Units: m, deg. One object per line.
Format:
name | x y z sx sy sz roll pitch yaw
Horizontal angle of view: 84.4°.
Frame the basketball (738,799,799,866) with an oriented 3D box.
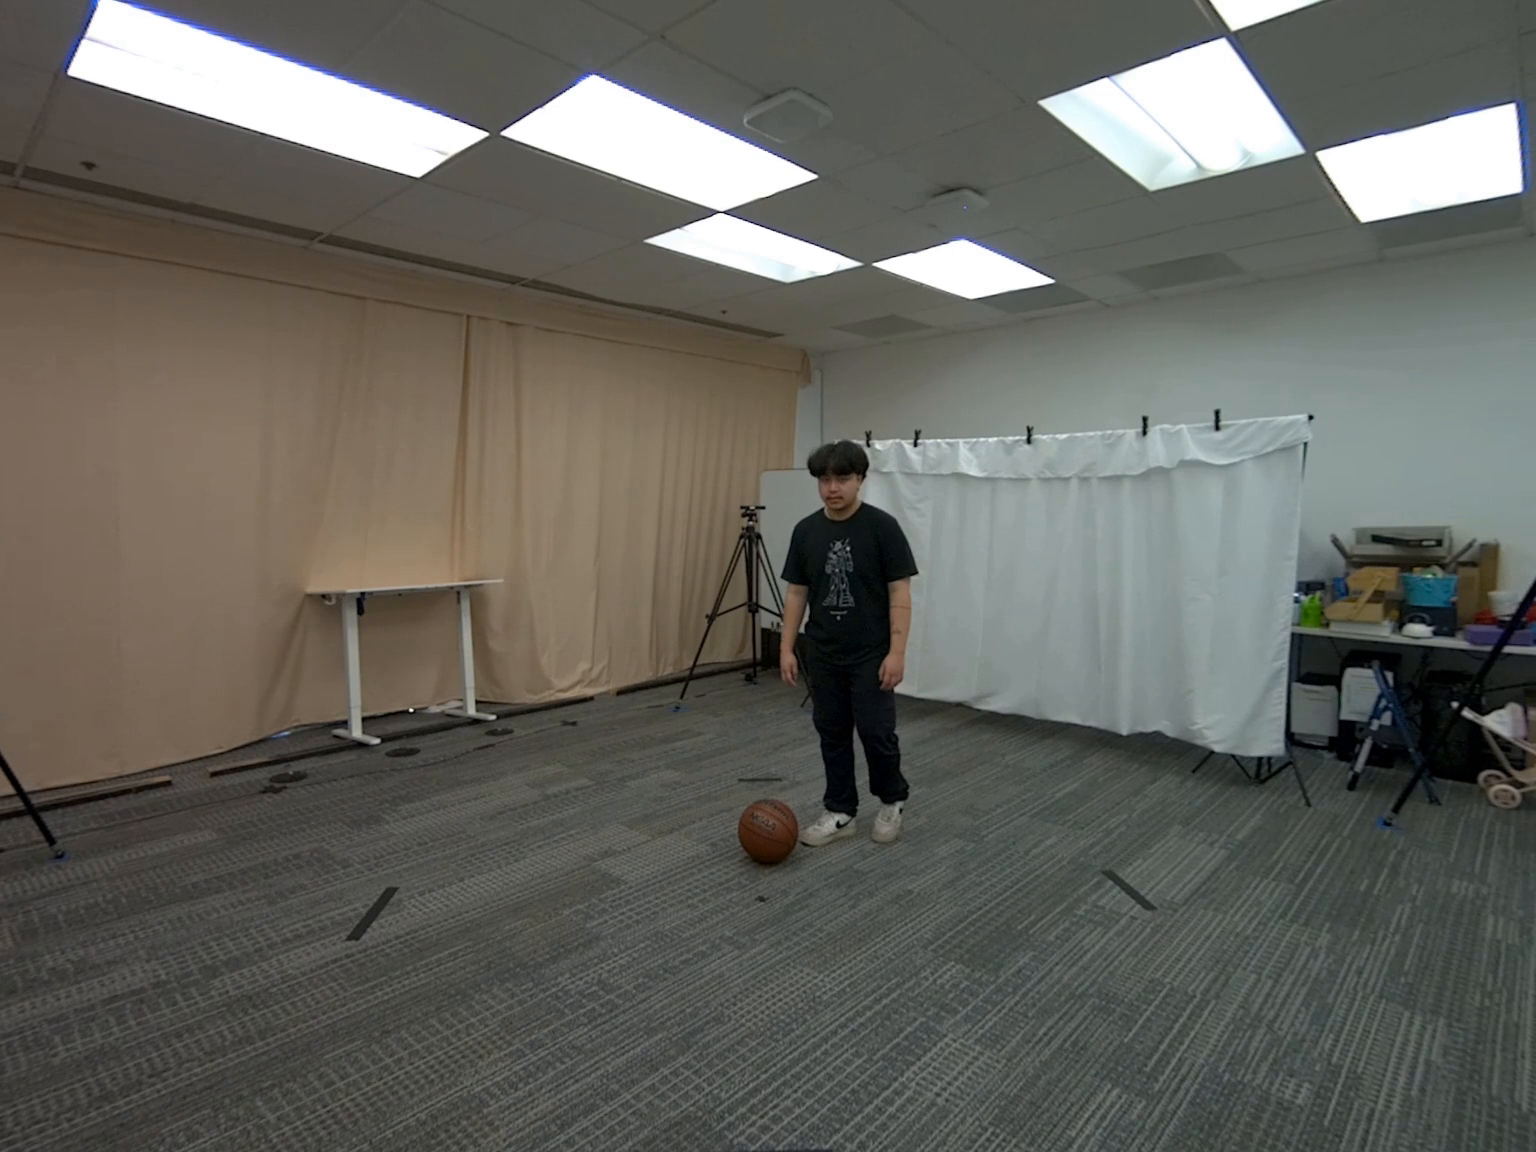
basketball | 0.006 0.996 3.298 0.236 0.235 0.237 0 4 -2
